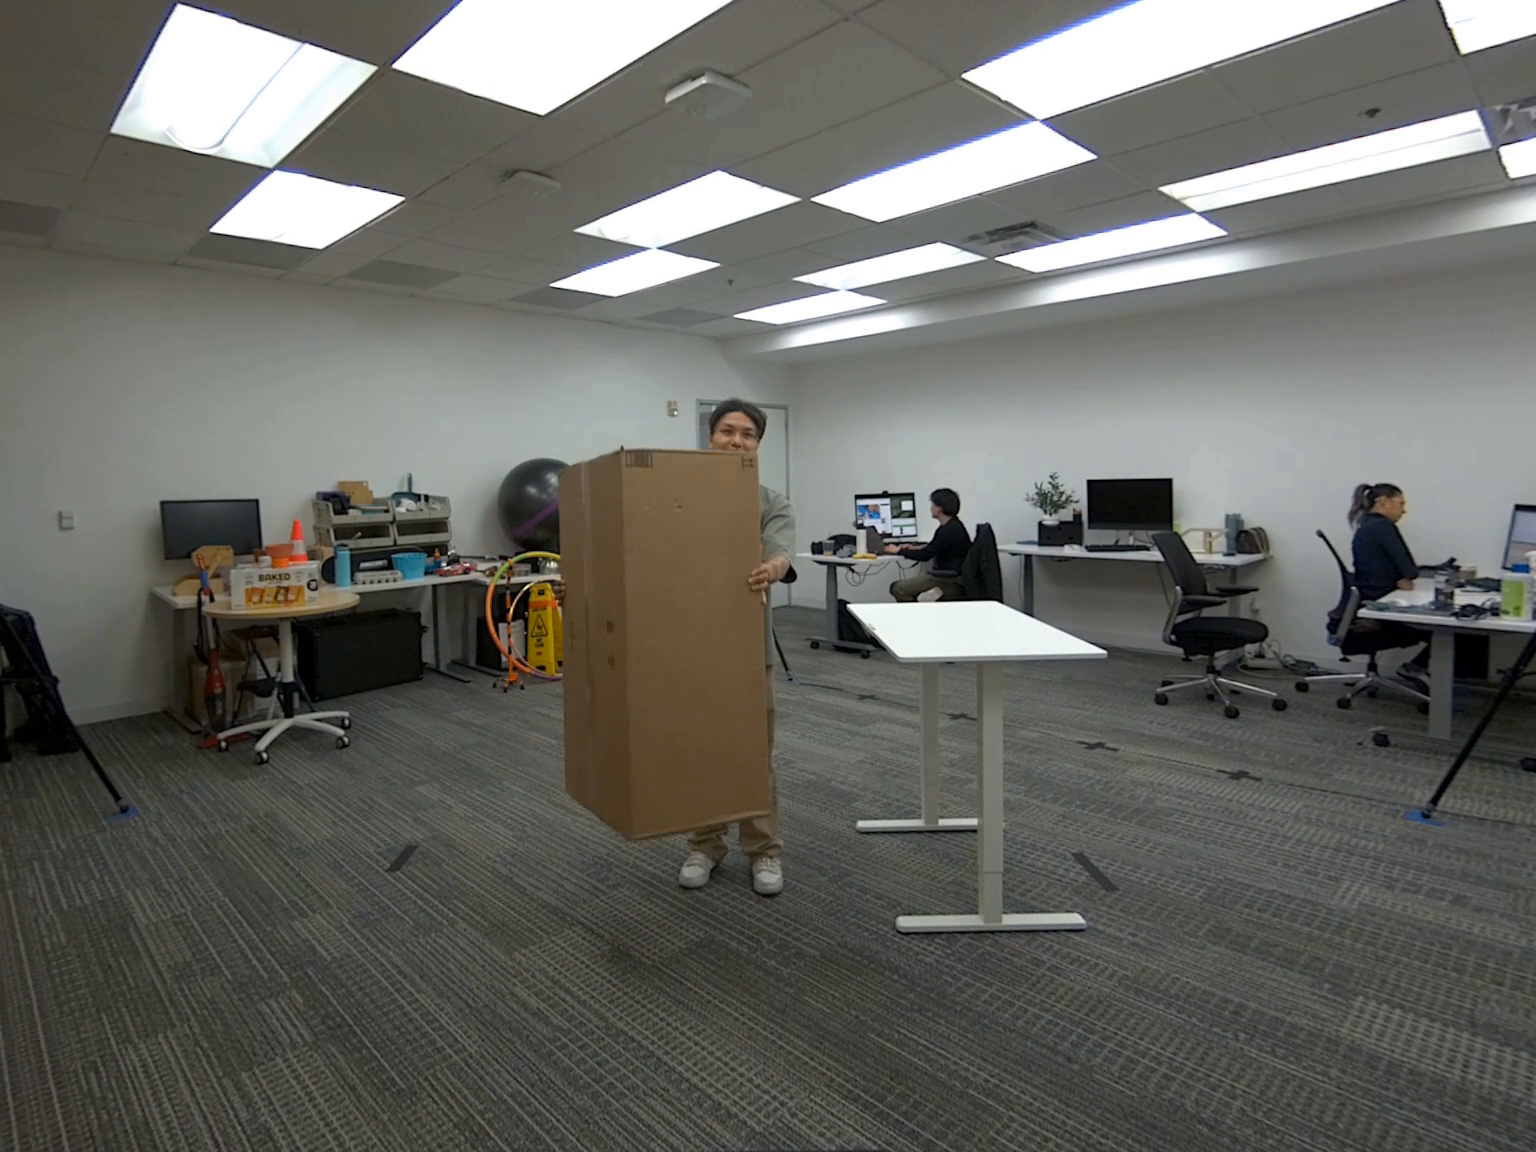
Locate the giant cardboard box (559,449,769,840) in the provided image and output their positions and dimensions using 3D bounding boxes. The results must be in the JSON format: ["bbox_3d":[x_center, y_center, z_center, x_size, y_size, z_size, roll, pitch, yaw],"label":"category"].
[{"bbox_3d":[-0.332,0.171,2.561,0.416,1.027,0.590,-1,-2,-29],"label":"giant cardboard box"}]
